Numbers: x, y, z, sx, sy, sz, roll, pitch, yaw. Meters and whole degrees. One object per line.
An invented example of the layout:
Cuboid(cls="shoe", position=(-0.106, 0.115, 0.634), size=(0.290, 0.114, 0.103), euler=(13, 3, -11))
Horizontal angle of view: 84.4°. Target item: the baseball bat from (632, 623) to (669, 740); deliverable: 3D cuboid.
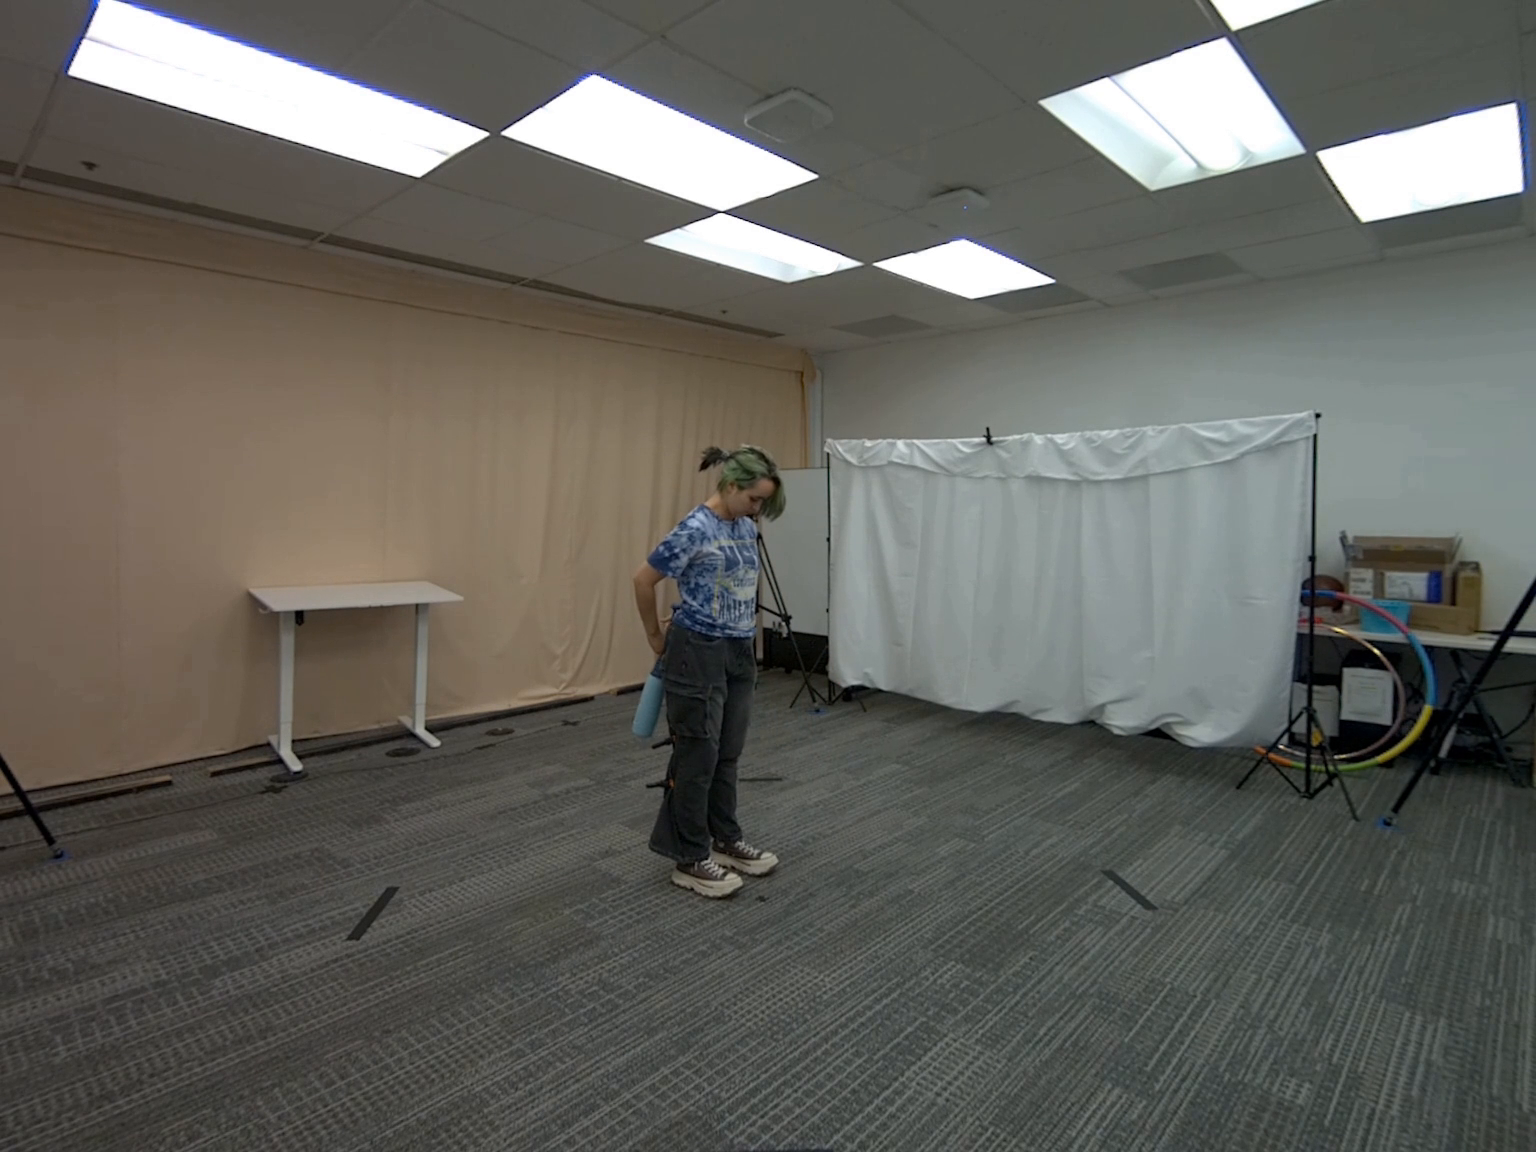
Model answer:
Cuboid(cls="baseball bat", position=(-0.420, 0.373, 3.249), size=(0.089, 0.541, 0.089), euler=(14, 8, -4))
